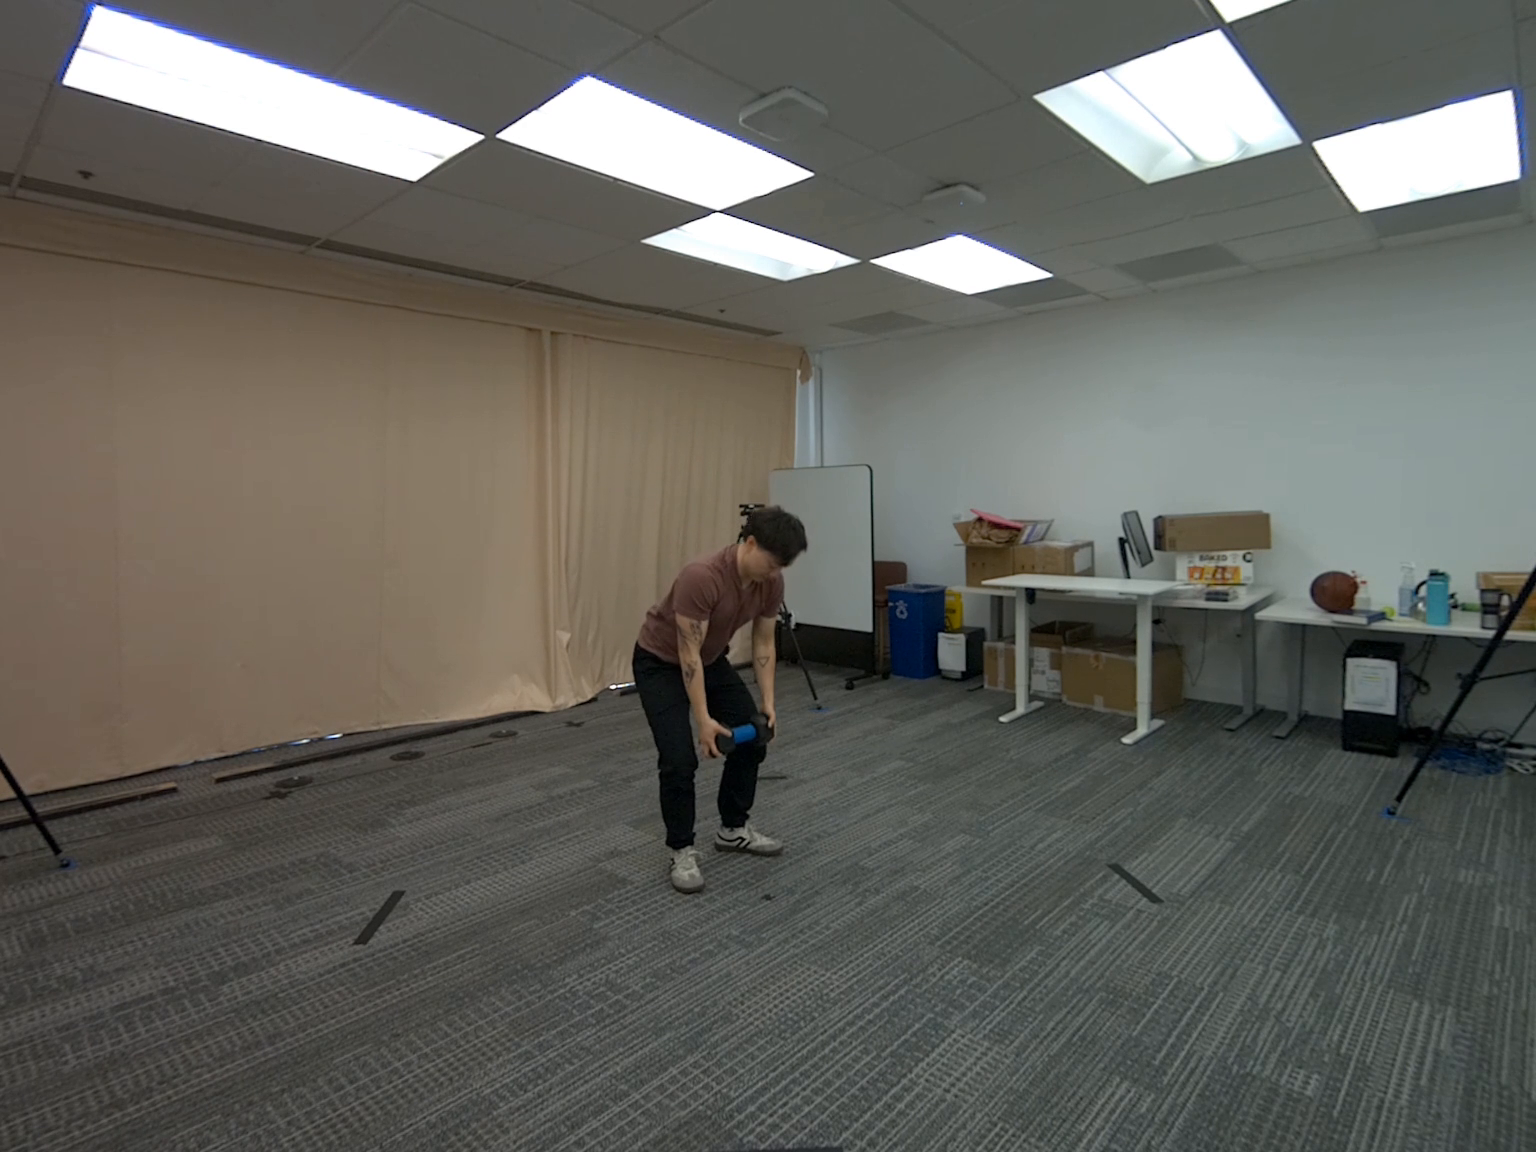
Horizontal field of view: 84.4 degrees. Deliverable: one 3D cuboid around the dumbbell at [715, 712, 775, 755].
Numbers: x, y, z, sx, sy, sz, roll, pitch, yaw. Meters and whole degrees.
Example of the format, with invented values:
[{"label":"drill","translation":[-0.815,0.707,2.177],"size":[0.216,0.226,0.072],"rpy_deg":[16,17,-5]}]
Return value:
[{"label":"dumbbell","translation":[-0.104,0.590,3.140],"size":[0.285,0.108,0.127],"rpy_deg":[-5,32,-43]}]
